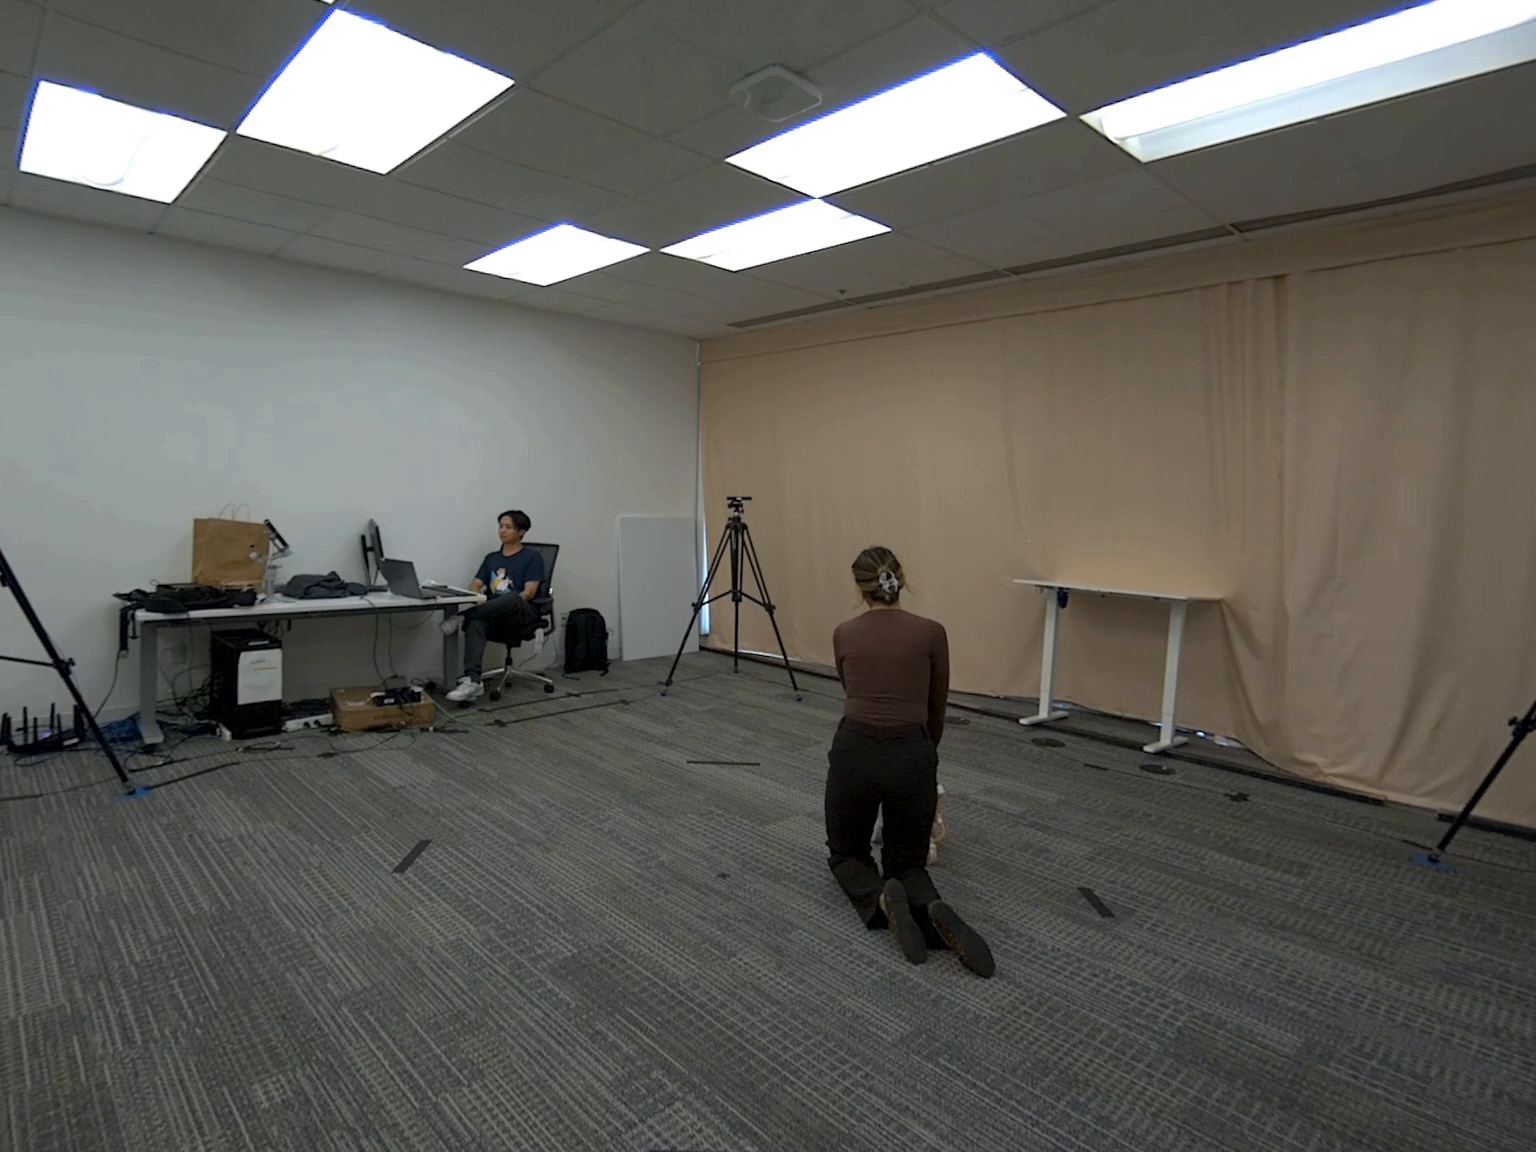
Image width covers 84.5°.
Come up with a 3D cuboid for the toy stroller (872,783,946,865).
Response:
[{"bbox_3d":[0.567,0.878,3.428,0.278,0.540,0.341,0,-13,-14],"label":"toy stroller"}]
